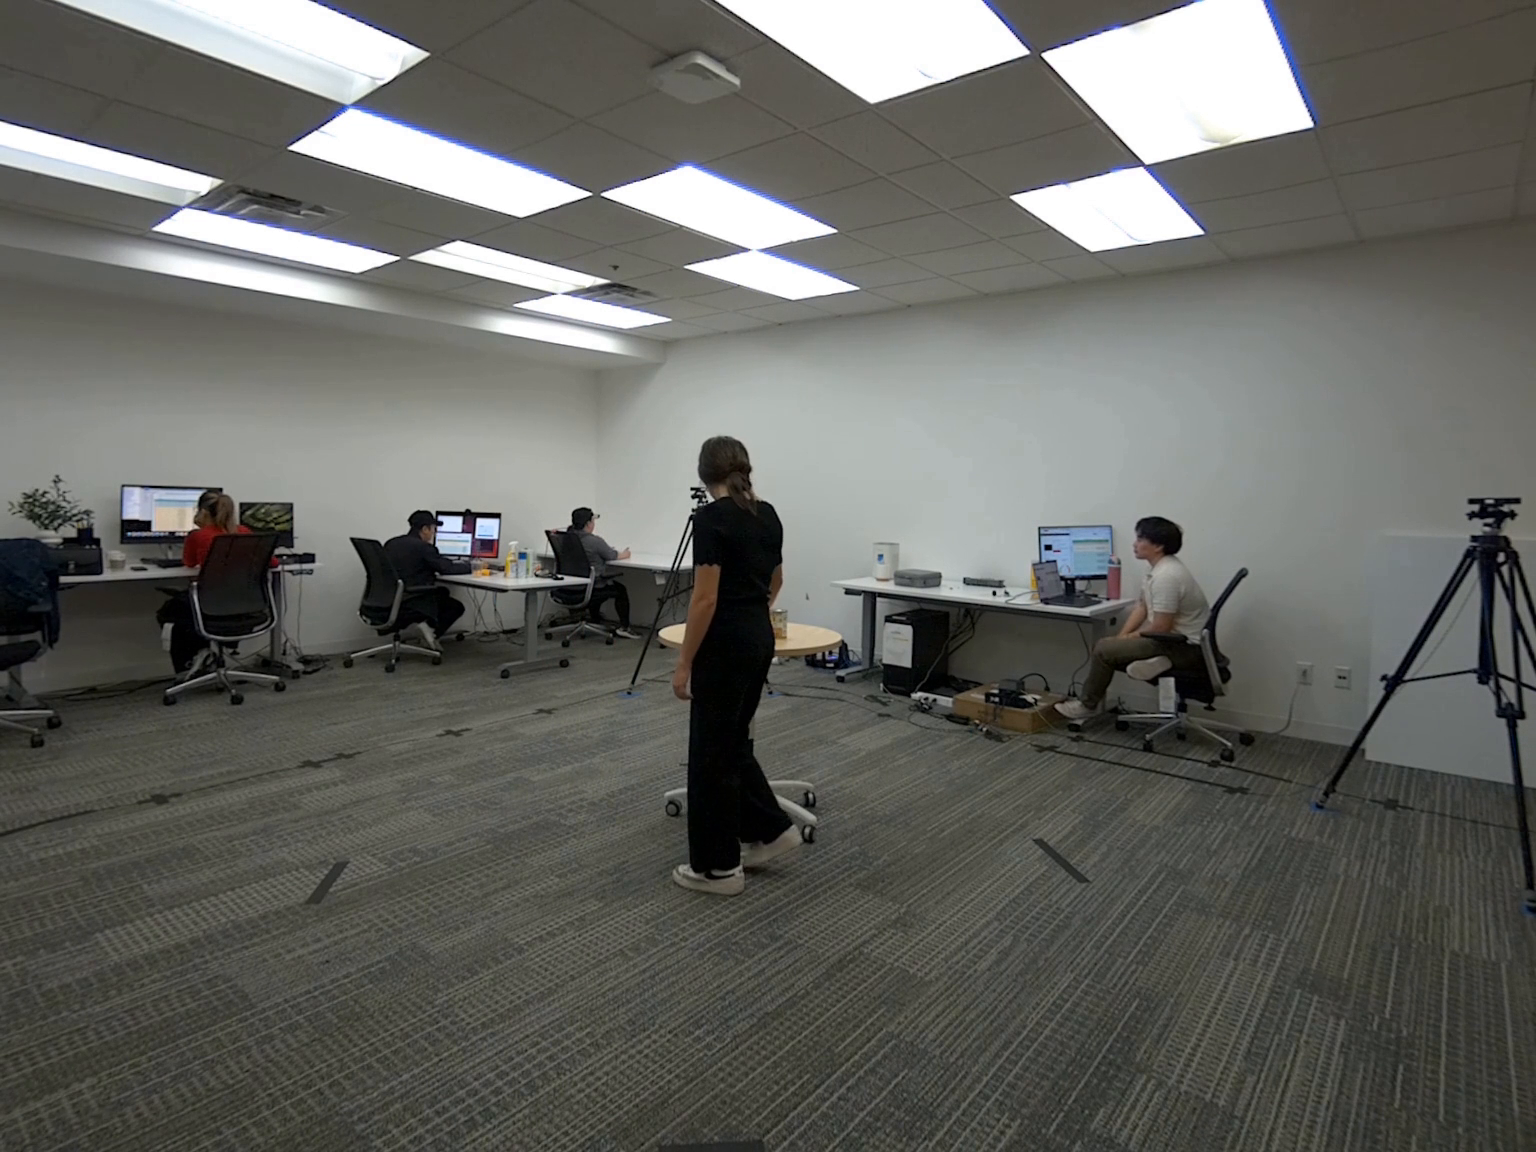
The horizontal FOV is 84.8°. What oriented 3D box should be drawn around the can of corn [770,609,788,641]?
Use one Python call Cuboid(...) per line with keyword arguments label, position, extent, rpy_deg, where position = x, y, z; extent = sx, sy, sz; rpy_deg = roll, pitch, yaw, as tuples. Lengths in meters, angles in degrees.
Cuboid(label="can of corn", position=(0.034, 0.194, 3.480), extent=(0.074, 0.111, 0.074), rpy_deg=(2, 3, -2))
